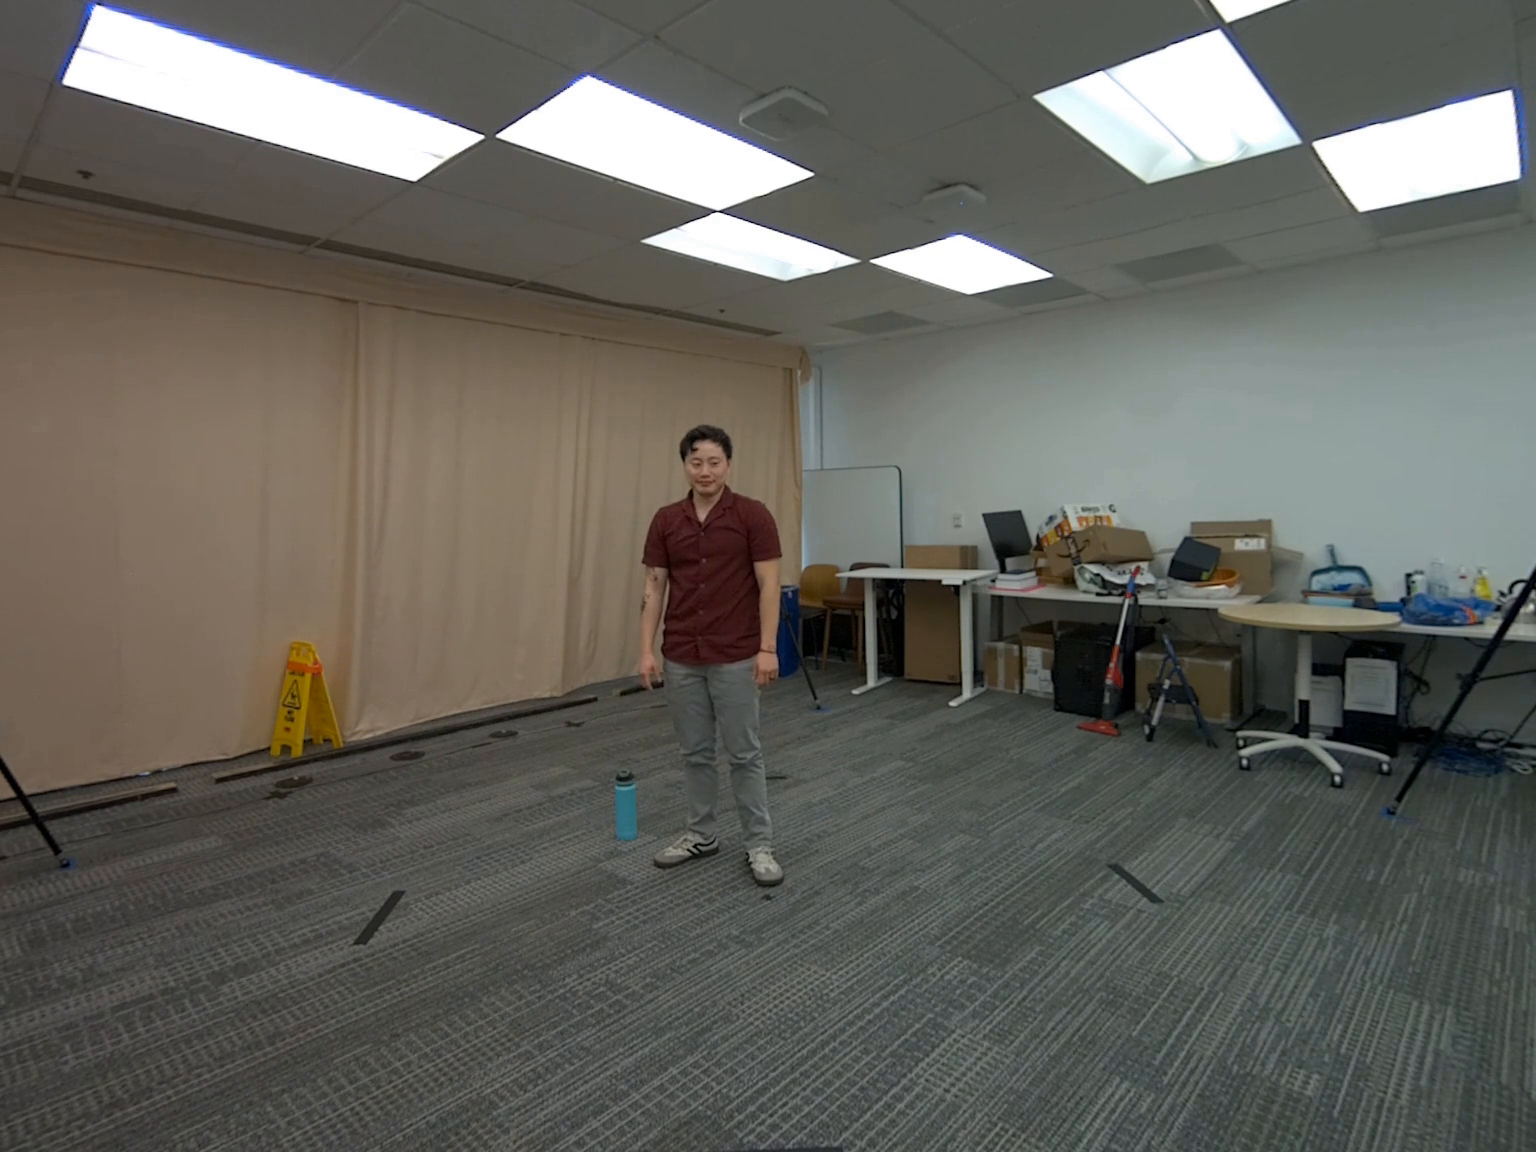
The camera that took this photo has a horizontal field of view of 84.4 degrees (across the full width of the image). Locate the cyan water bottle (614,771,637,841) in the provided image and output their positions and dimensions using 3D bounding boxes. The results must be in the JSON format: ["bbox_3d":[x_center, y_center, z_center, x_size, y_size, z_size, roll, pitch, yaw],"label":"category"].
[{"bbox_3d":[-0.604,0.964,3.562,0.092,0.283,0.092,-2,2,-2],"label":"cyan water bottle"}]
